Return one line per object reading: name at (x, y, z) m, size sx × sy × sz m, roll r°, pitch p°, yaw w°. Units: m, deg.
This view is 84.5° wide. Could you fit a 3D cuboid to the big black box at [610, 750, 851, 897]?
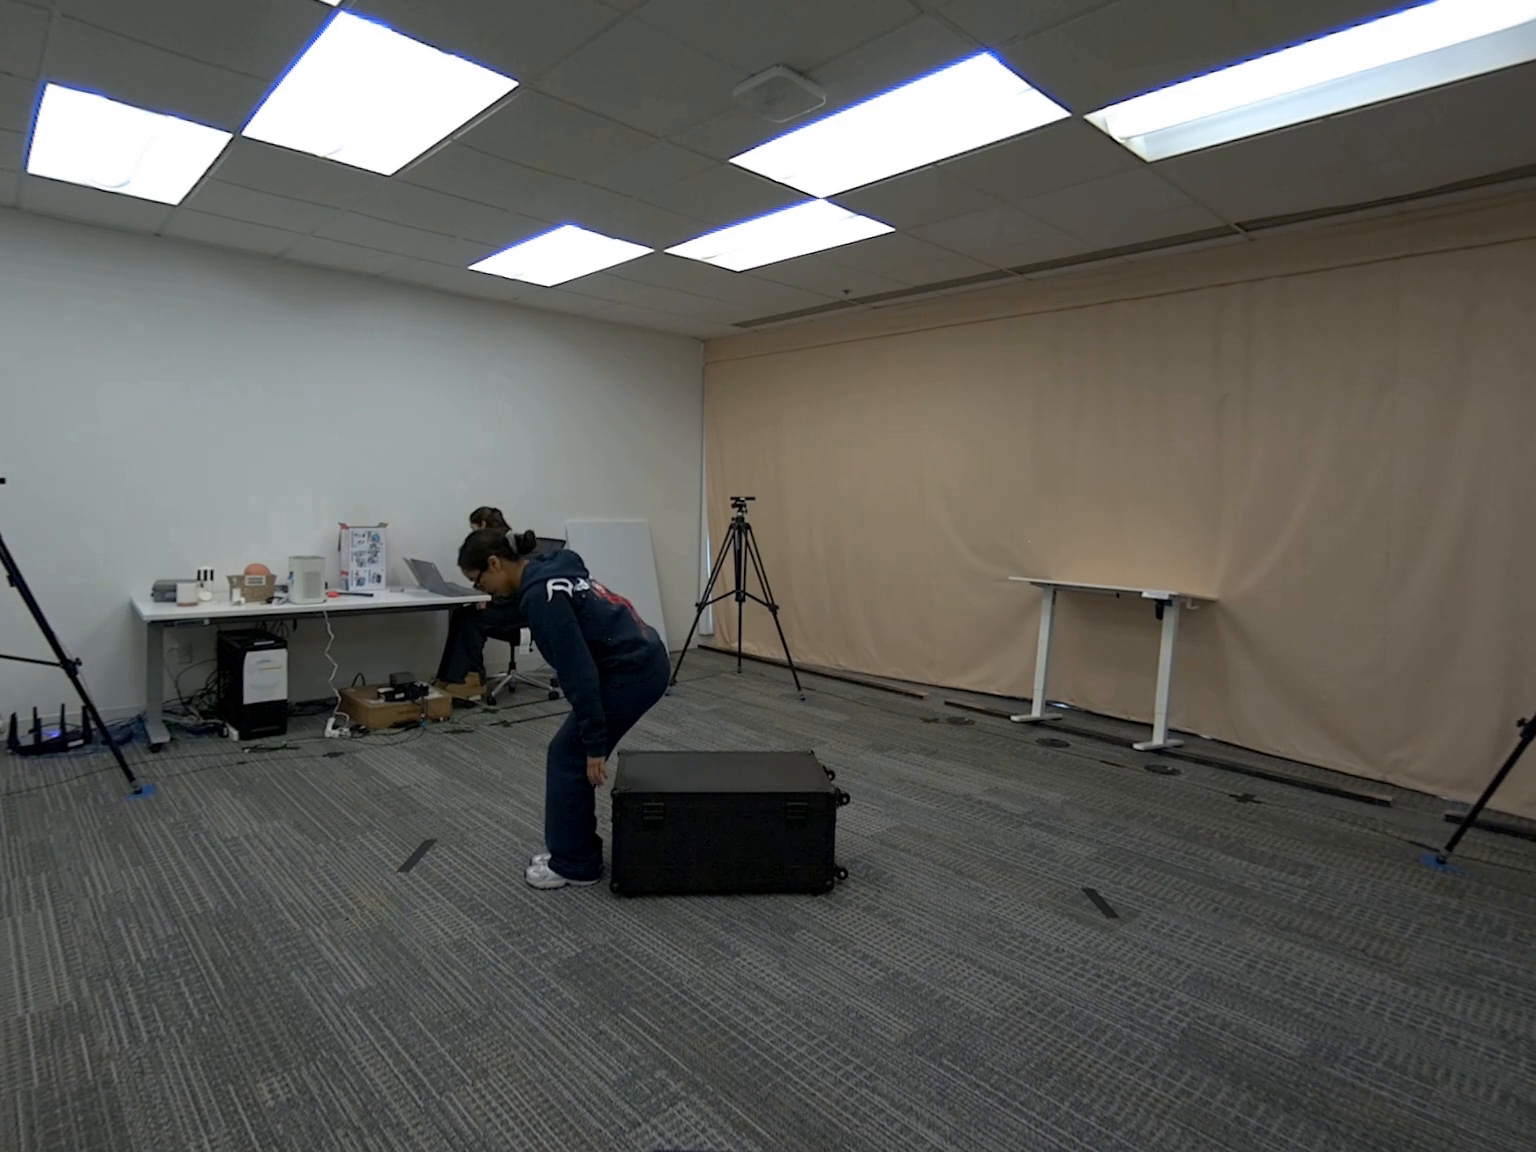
big black box at (-0.149, 0.904, 3.158) m, size 0.857 × 0.395 × 0.525 m, roll 0°, pitch 4°, yaw -6°
